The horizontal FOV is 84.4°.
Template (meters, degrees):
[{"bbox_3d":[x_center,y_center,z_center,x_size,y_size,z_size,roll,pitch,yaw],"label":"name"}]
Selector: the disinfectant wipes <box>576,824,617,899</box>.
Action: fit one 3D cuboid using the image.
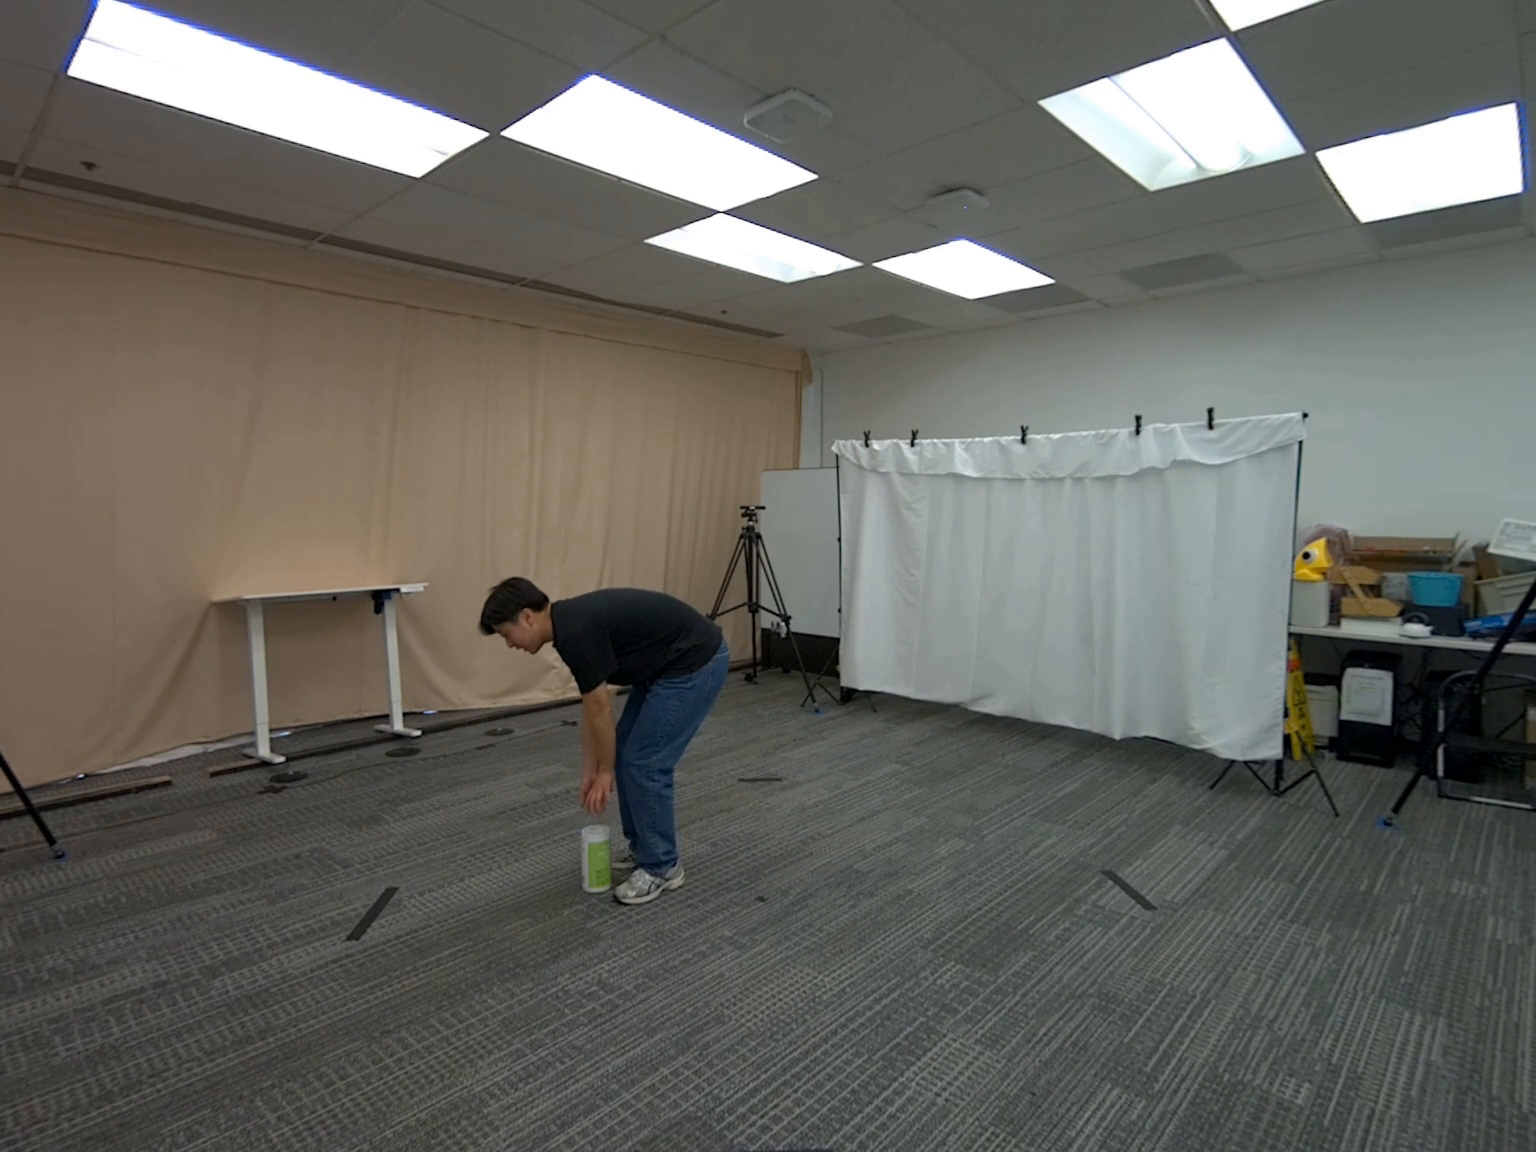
[{"bbox_3d":[-0.625,1.038,3.090,0.118,0.217,0.118,-3,3,-2],"label":"disinfectant wipes"}]
